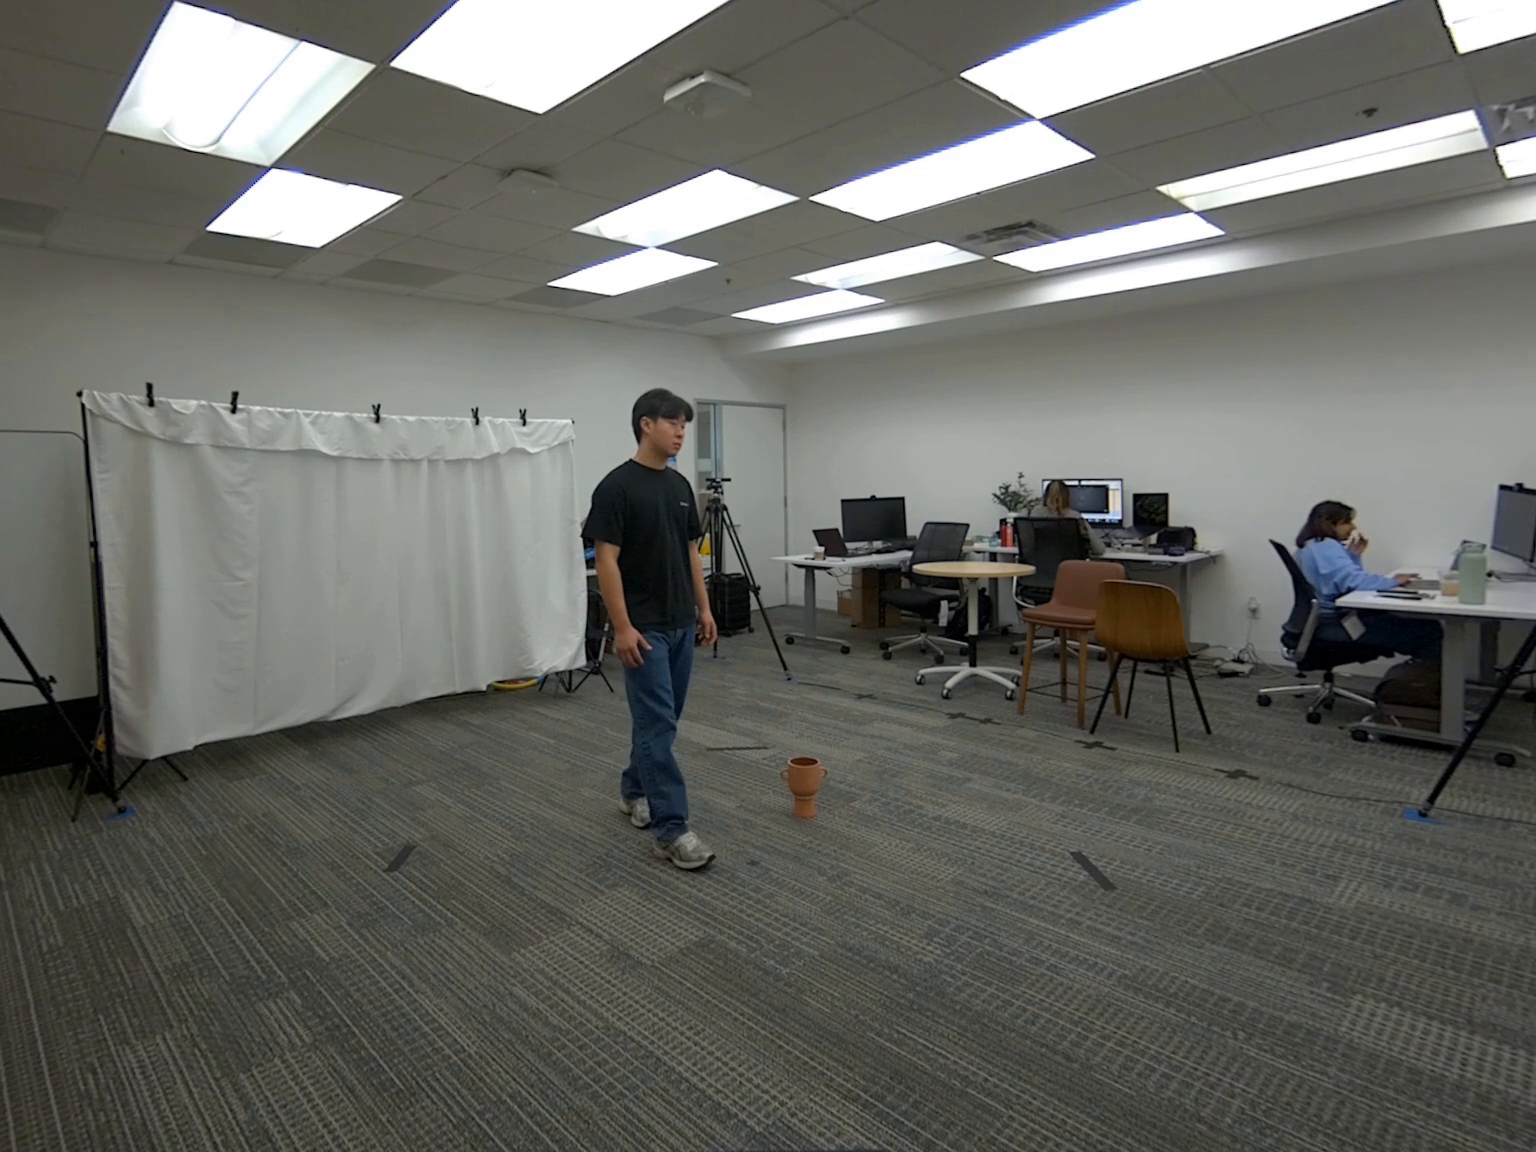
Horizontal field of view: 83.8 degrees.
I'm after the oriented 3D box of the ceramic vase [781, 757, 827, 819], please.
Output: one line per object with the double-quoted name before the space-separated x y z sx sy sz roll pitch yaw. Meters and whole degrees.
"ceramic vase" 0.148 0.869 3.538 0.163 0.219 0.131 3 7 34
